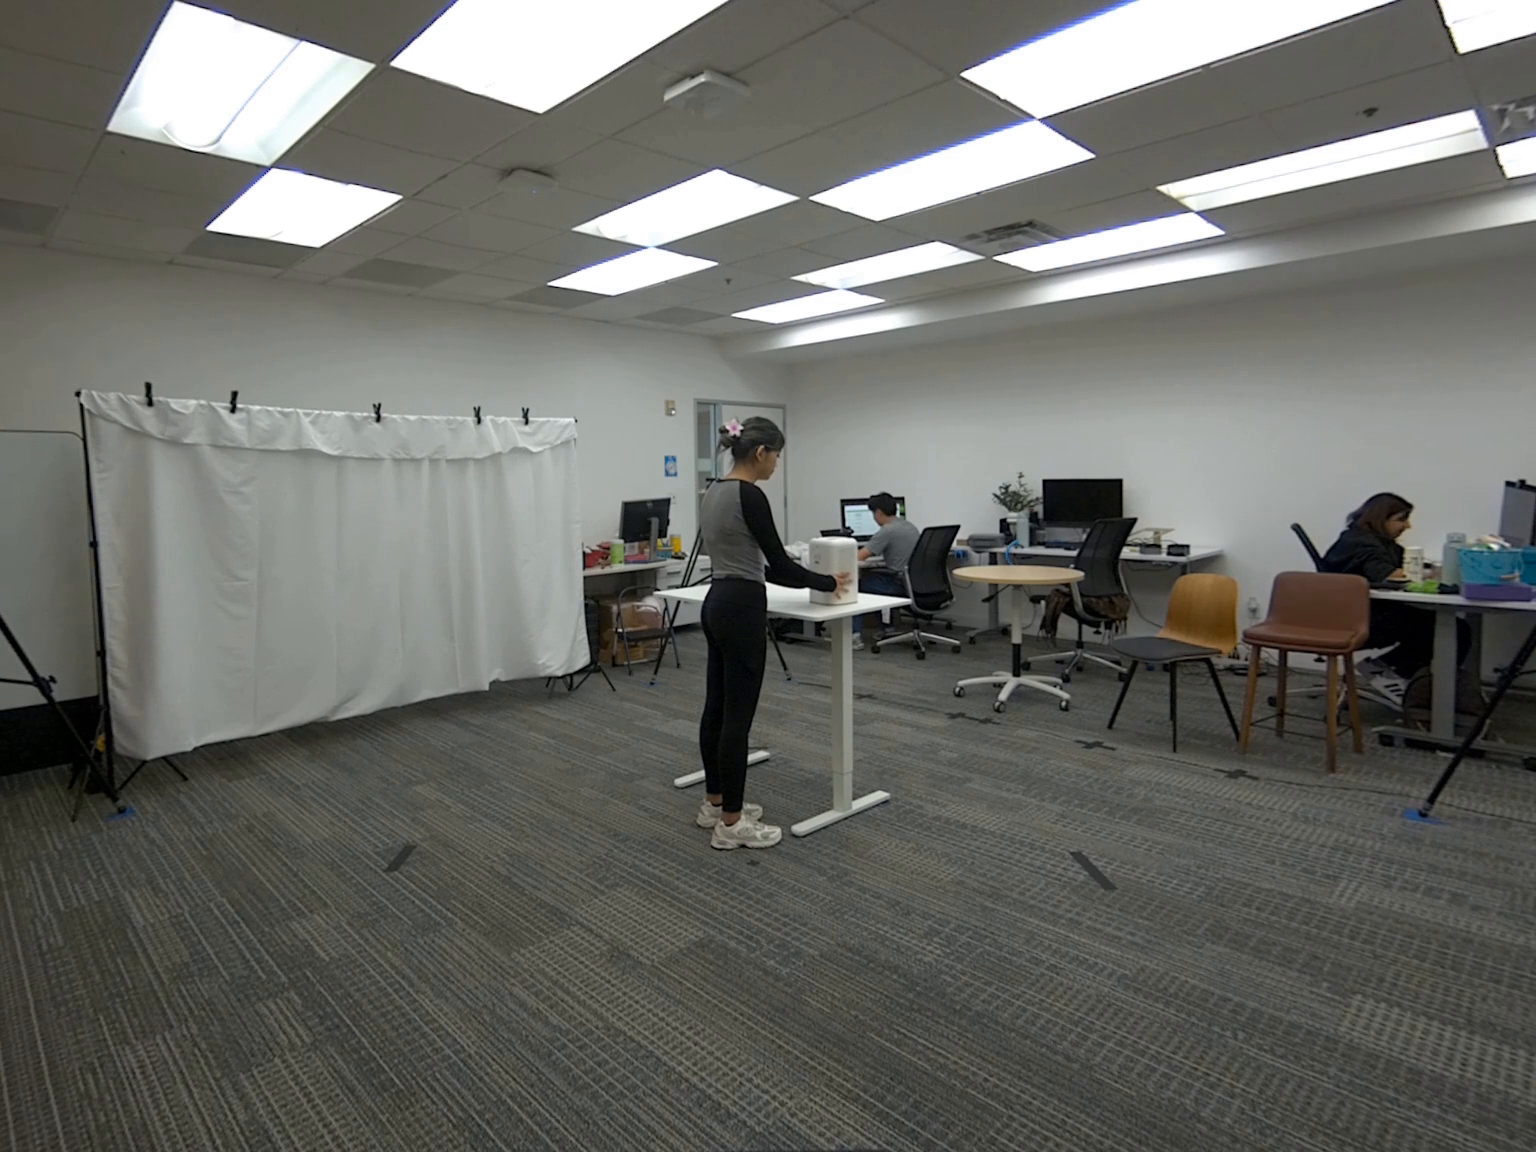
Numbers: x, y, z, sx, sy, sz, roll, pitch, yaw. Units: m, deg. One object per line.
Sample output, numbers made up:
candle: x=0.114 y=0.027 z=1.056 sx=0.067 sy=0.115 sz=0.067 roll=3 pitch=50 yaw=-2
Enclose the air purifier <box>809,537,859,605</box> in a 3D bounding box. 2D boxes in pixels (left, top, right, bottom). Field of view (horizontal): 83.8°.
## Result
air purifier: x=0.267 y=-0.025 z=3.524 sx=0.167 sy=0.264 sz=0.176 roll=-3 pitch=7 yaw=-32
